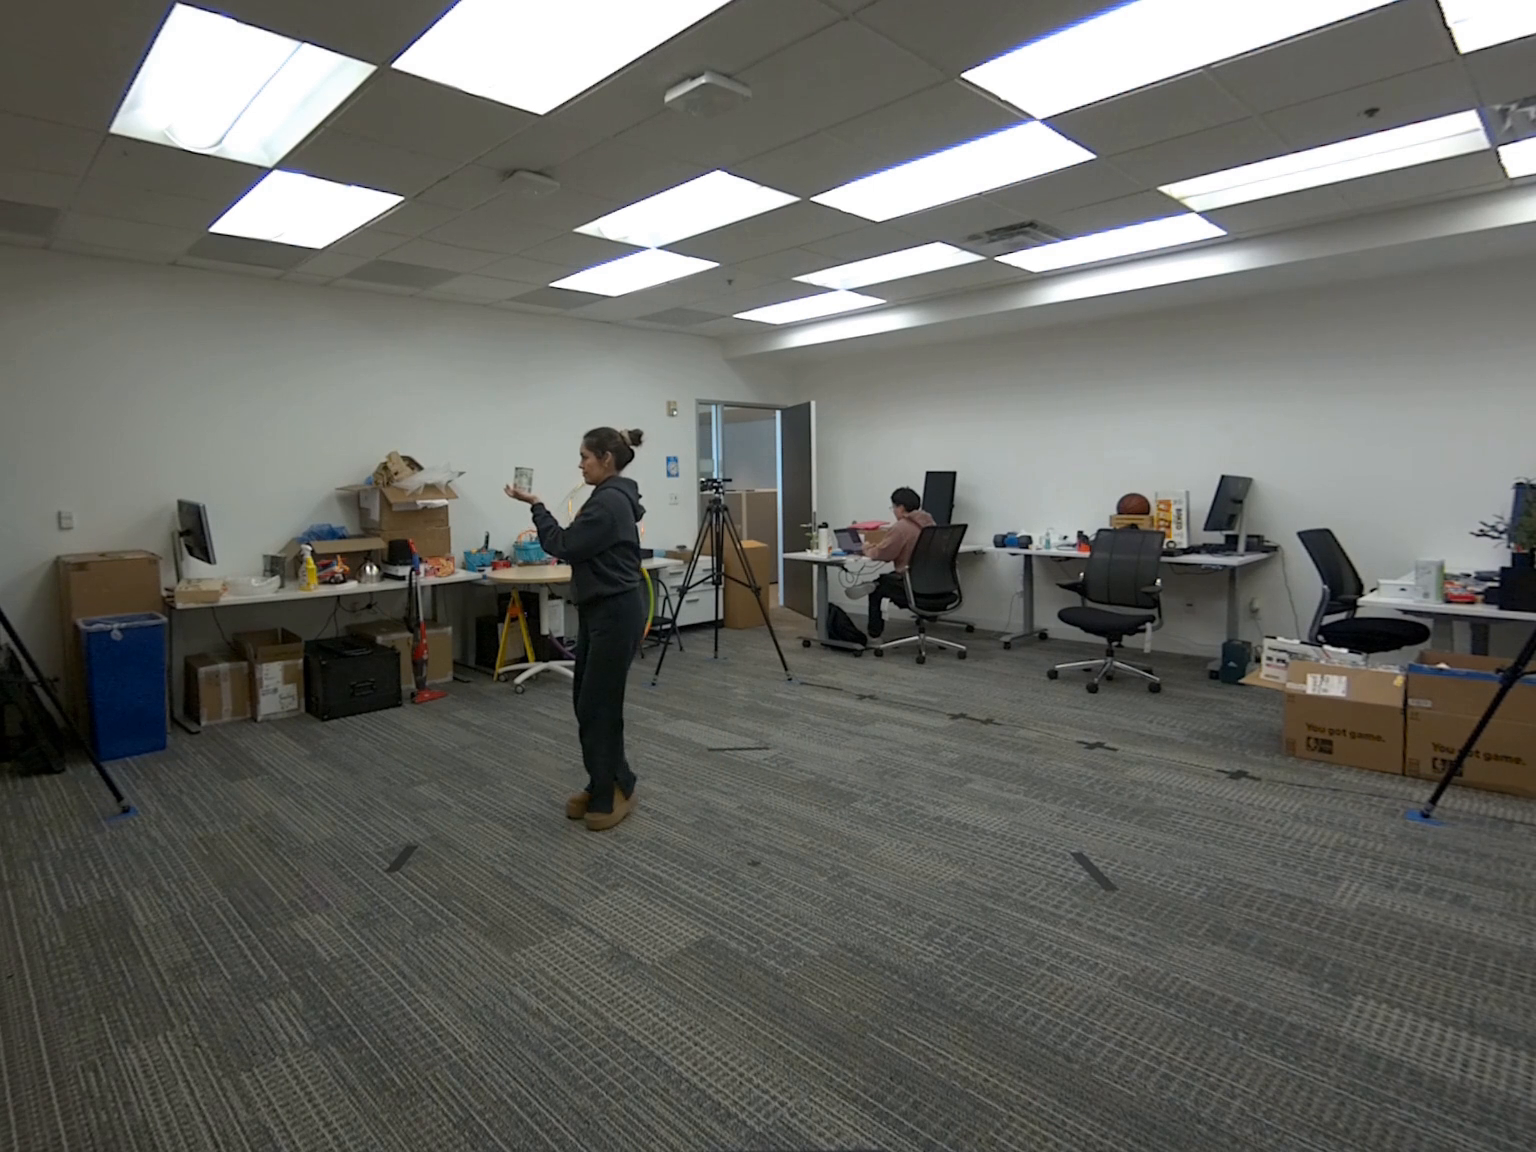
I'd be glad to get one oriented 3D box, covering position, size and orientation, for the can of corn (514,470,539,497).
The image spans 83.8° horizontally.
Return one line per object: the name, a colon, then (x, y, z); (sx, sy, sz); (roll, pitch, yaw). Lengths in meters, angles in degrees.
can of corn: (-0.985, -0.370, 3.483); (0.074, 0.111, 0.074); (4, 2, -2)
